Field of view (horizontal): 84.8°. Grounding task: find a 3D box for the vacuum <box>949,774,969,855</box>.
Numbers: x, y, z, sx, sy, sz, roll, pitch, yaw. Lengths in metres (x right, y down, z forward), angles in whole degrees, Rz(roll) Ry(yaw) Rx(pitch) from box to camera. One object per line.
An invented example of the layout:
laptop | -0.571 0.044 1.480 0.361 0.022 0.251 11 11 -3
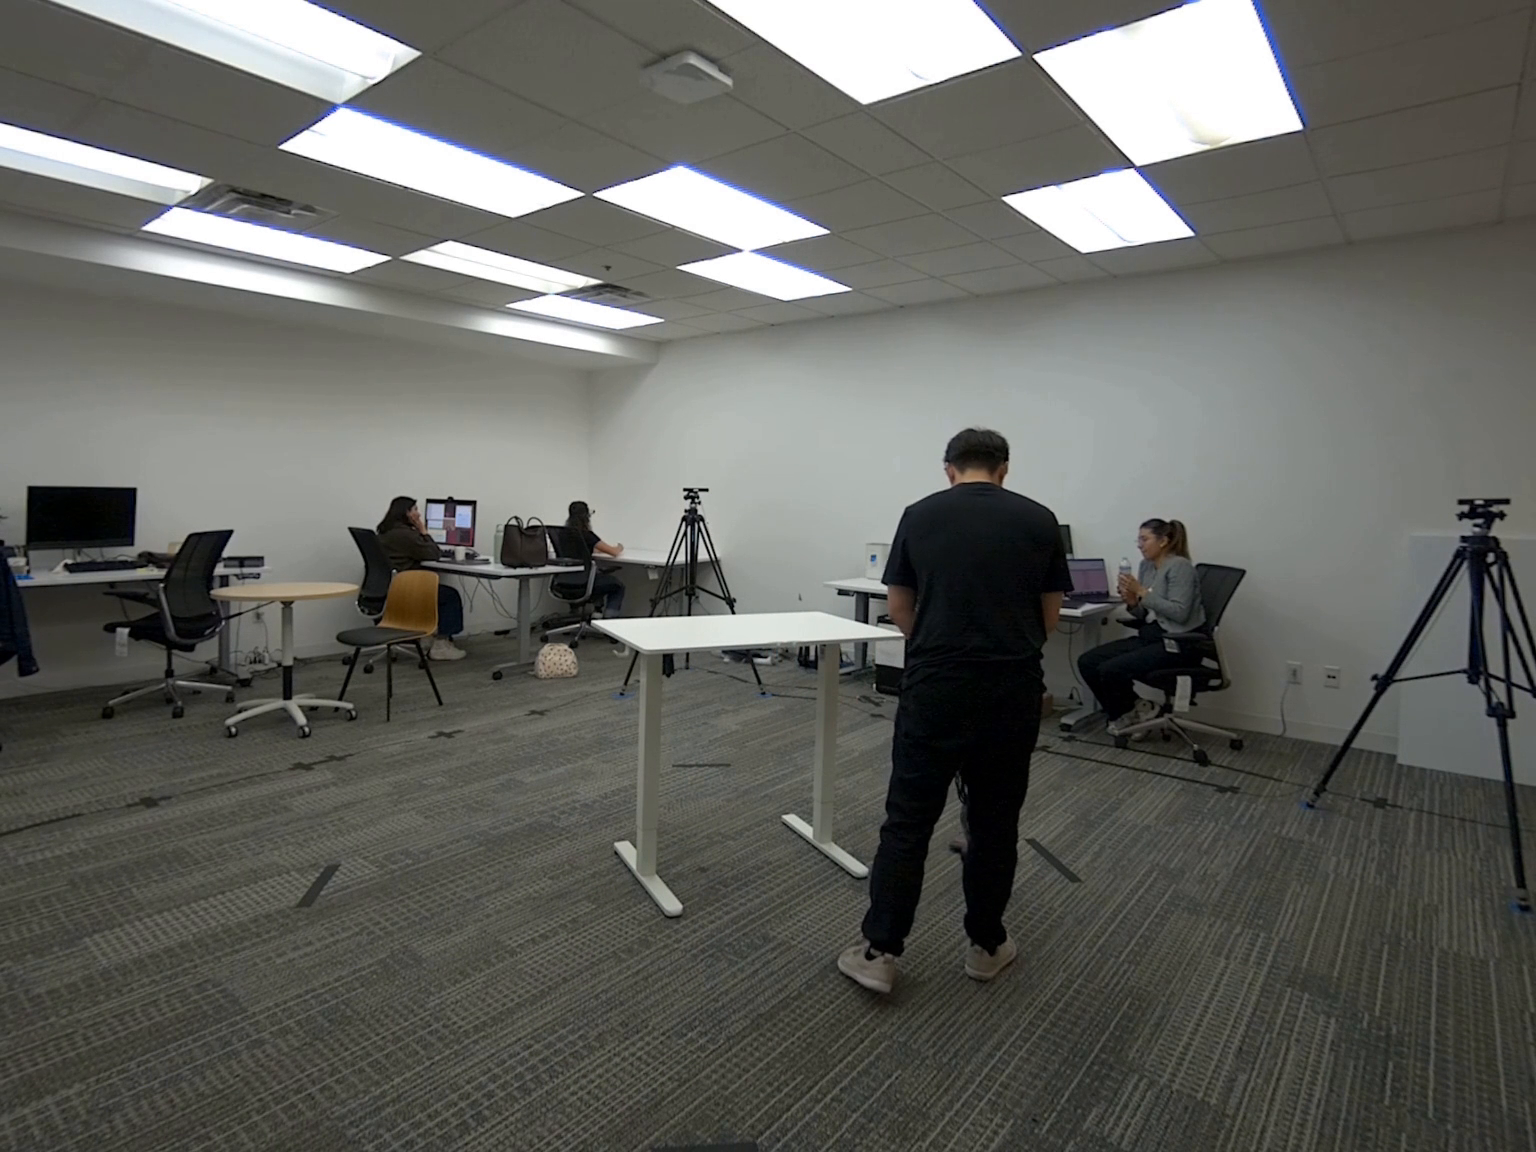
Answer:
vacuum | 0.685 0.703 2.919 0.258 1.010 0.146 -2 45 20
